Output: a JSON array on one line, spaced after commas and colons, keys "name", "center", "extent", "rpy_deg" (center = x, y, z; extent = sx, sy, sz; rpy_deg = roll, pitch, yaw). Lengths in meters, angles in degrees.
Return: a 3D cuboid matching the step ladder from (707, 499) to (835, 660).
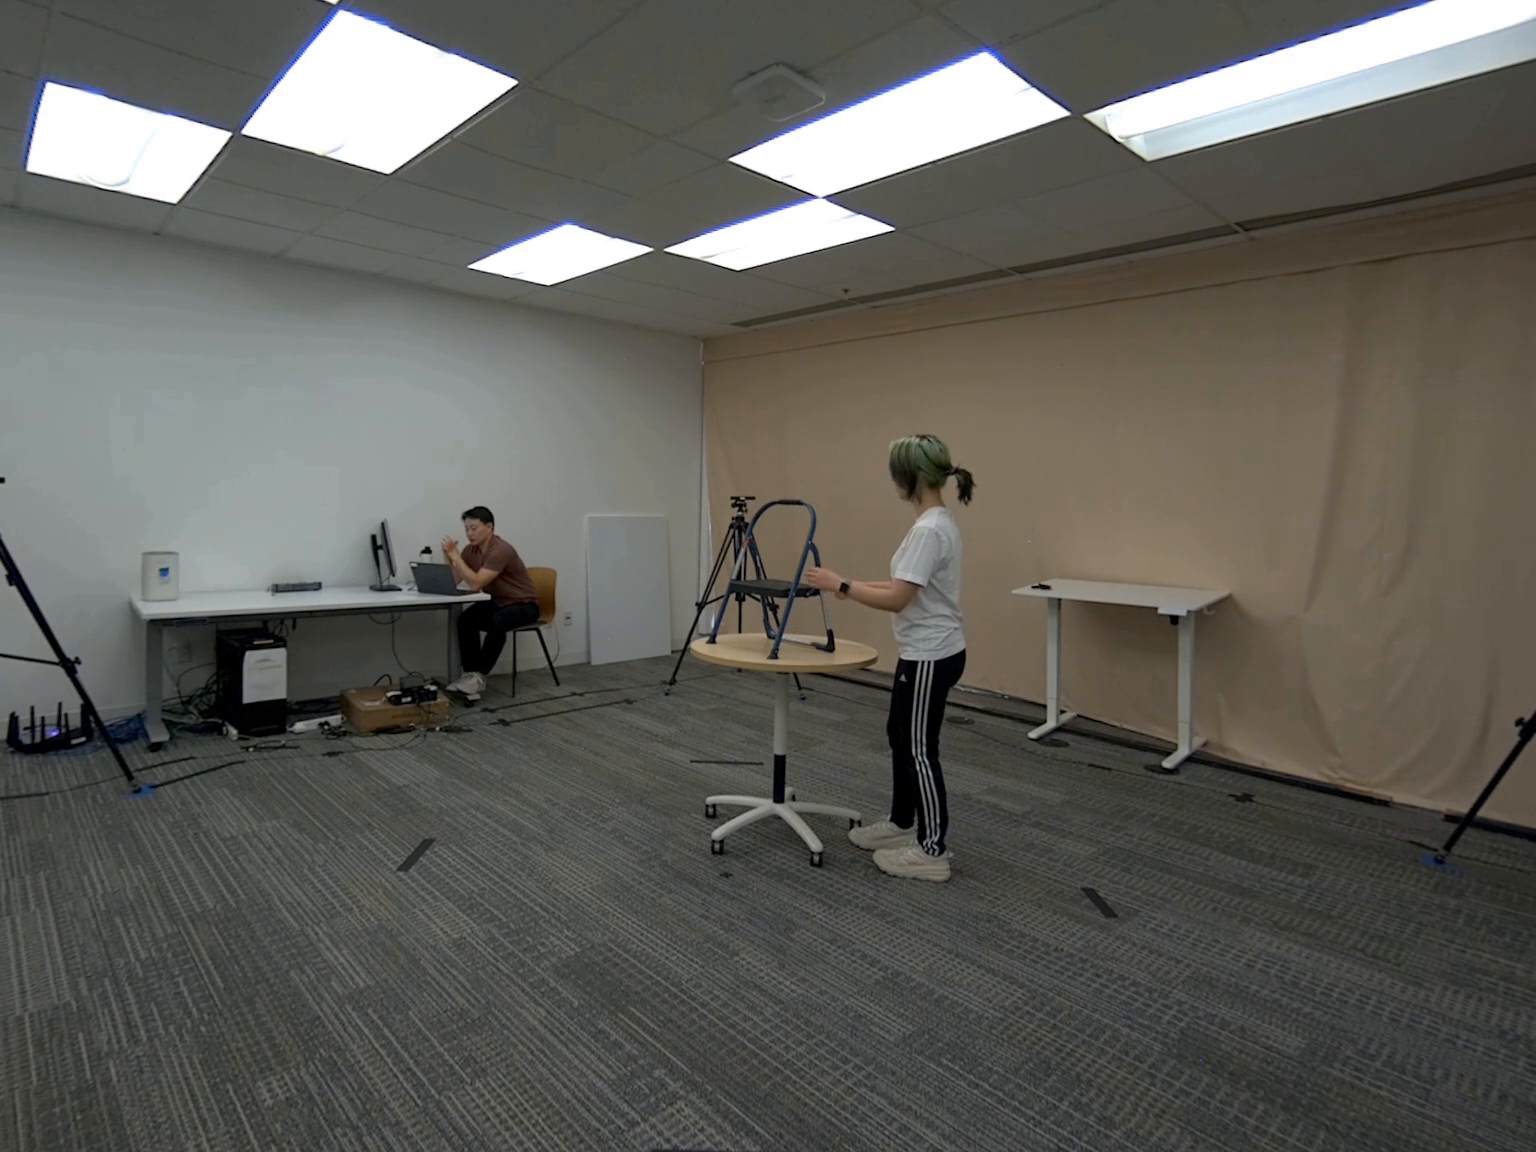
[{"name": "step ladder", "center": [0.018, -0.007, 3.428], "extent": [0.341, 0.605, 0.441], "rpy_deg": [0, 4, -39]}]
